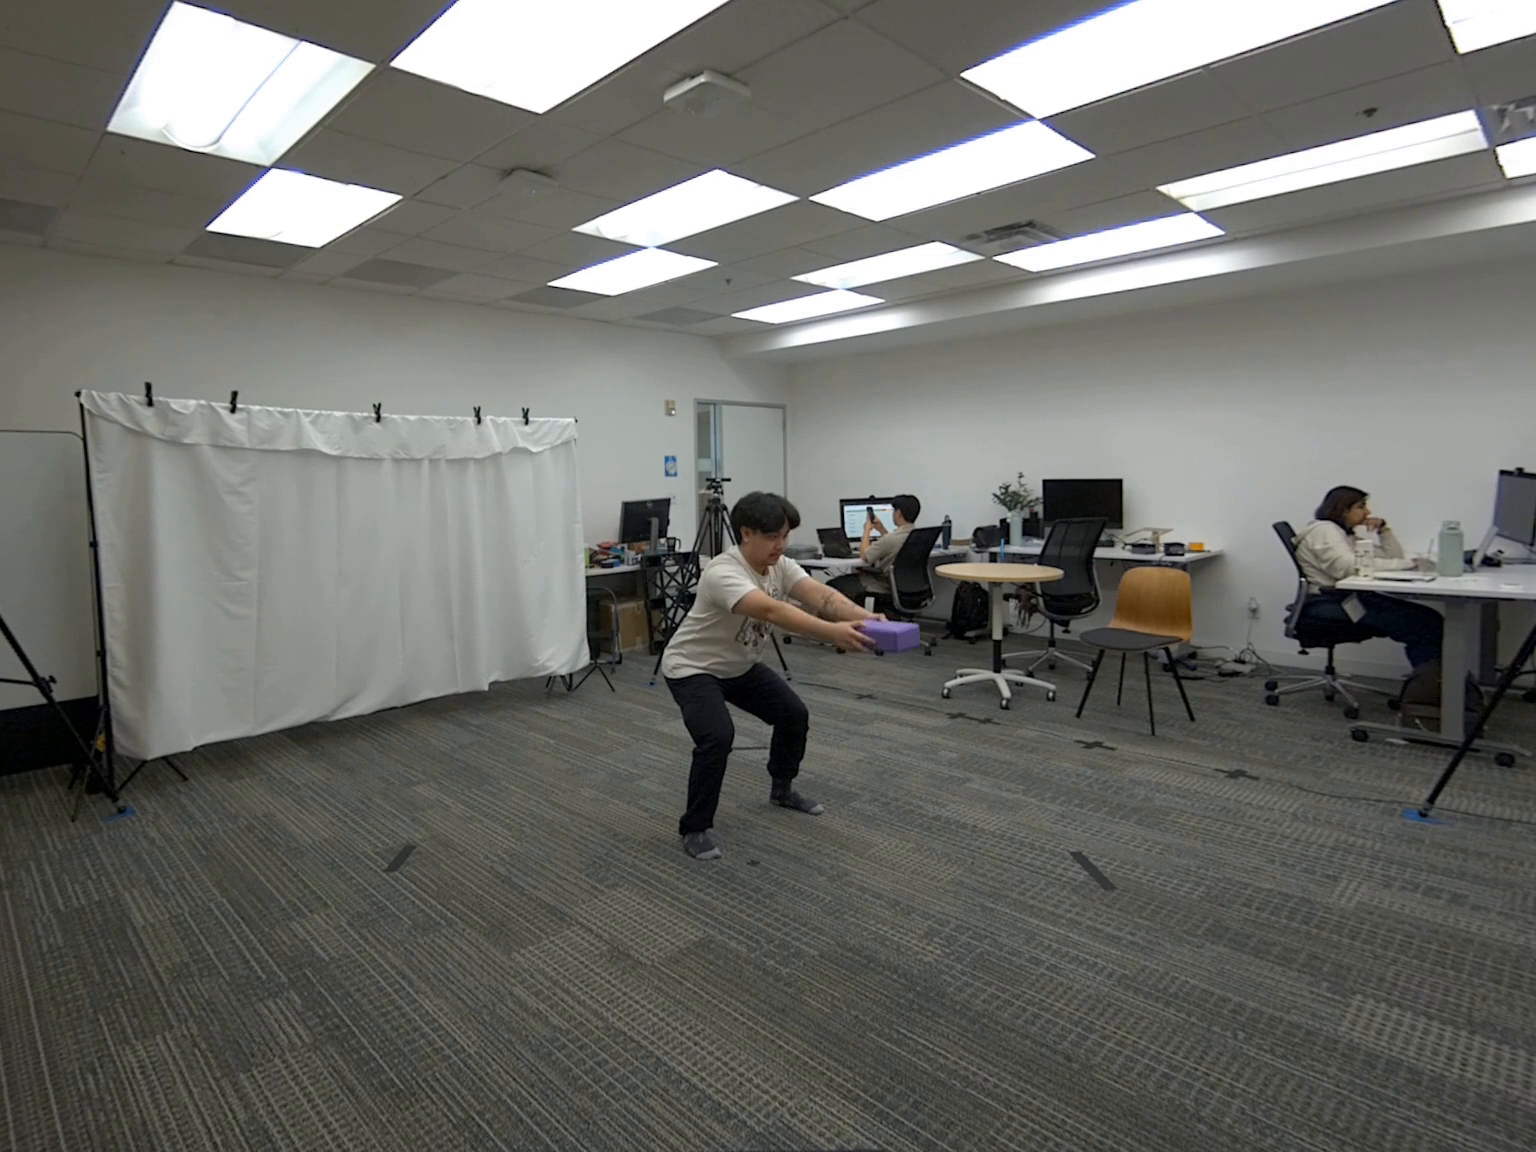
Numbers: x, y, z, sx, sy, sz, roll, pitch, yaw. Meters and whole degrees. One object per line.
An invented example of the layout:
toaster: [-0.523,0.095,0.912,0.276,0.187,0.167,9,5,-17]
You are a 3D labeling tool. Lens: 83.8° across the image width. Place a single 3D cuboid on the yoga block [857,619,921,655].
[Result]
yoga block: [0.376,0.192,2.903,0.236,0.076,0.145,4,9,39]
